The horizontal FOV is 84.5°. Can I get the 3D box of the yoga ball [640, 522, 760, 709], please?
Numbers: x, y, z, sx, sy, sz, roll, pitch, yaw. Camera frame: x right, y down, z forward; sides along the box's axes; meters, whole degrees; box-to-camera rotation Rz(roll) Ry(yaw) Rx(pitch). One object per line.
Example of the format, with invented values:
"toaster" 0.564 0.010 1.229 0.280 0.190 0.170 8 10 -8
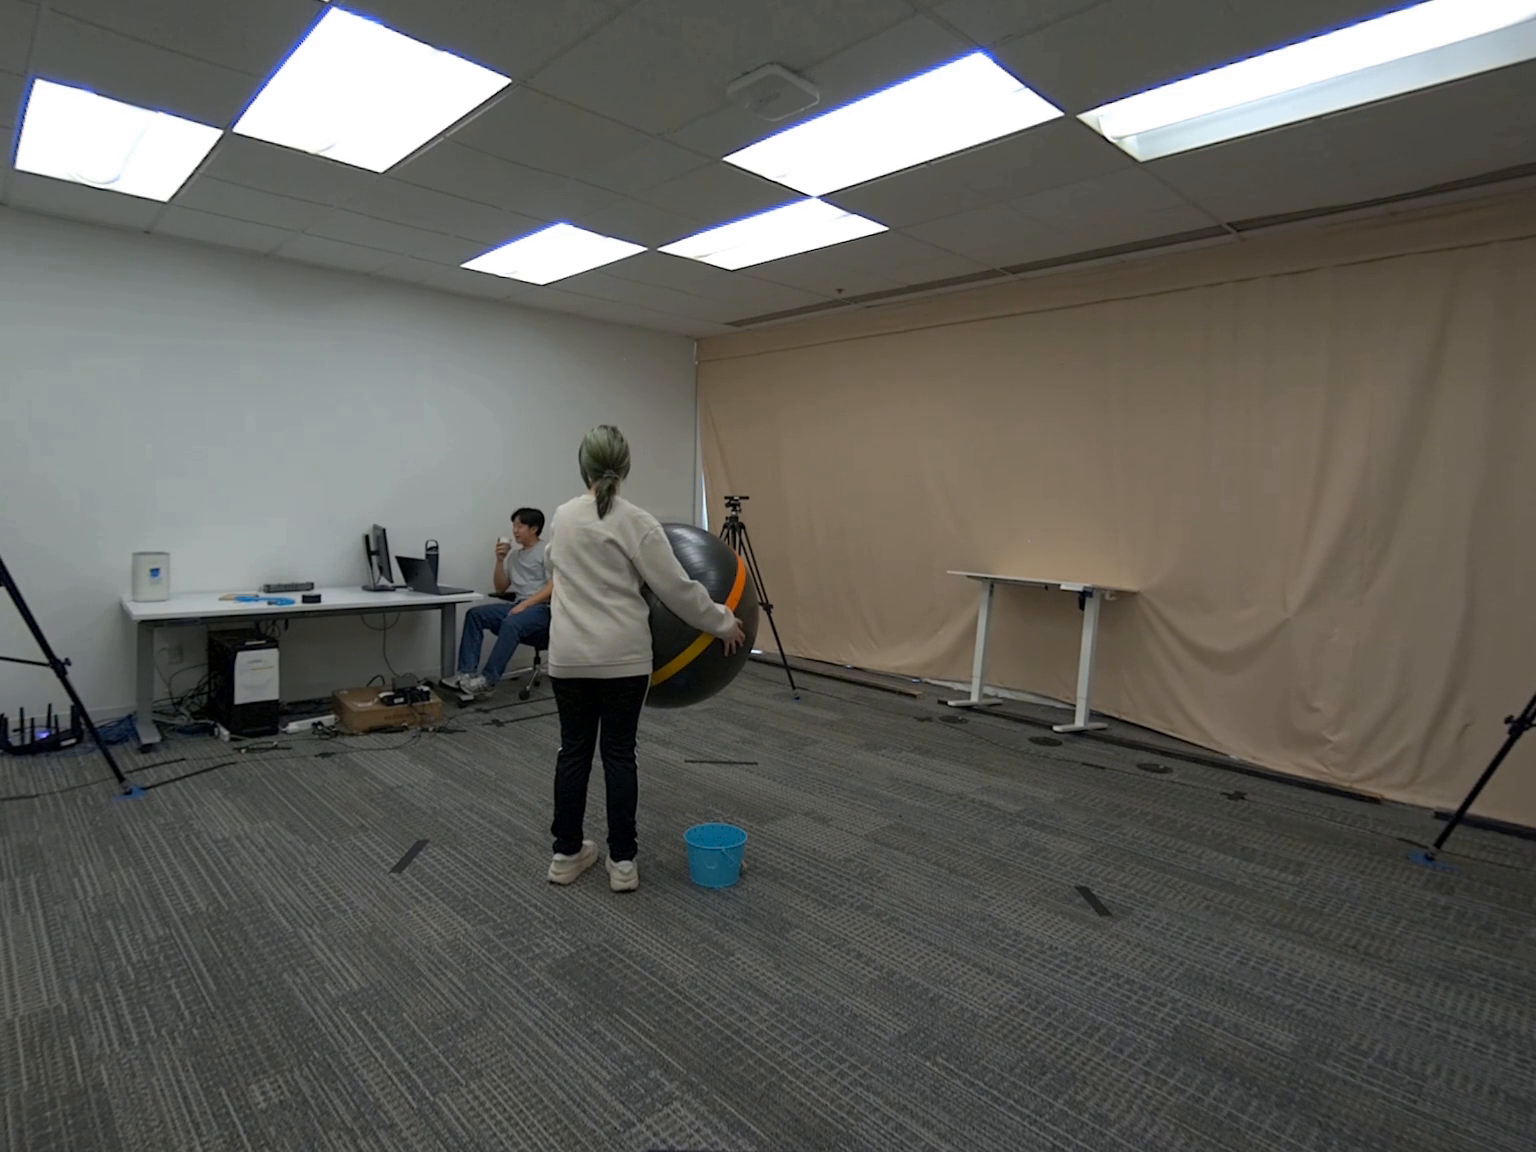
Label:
"yoga ball" -0.415 0.165 3.468 0.757 0.756 0.761 1 4 -1
